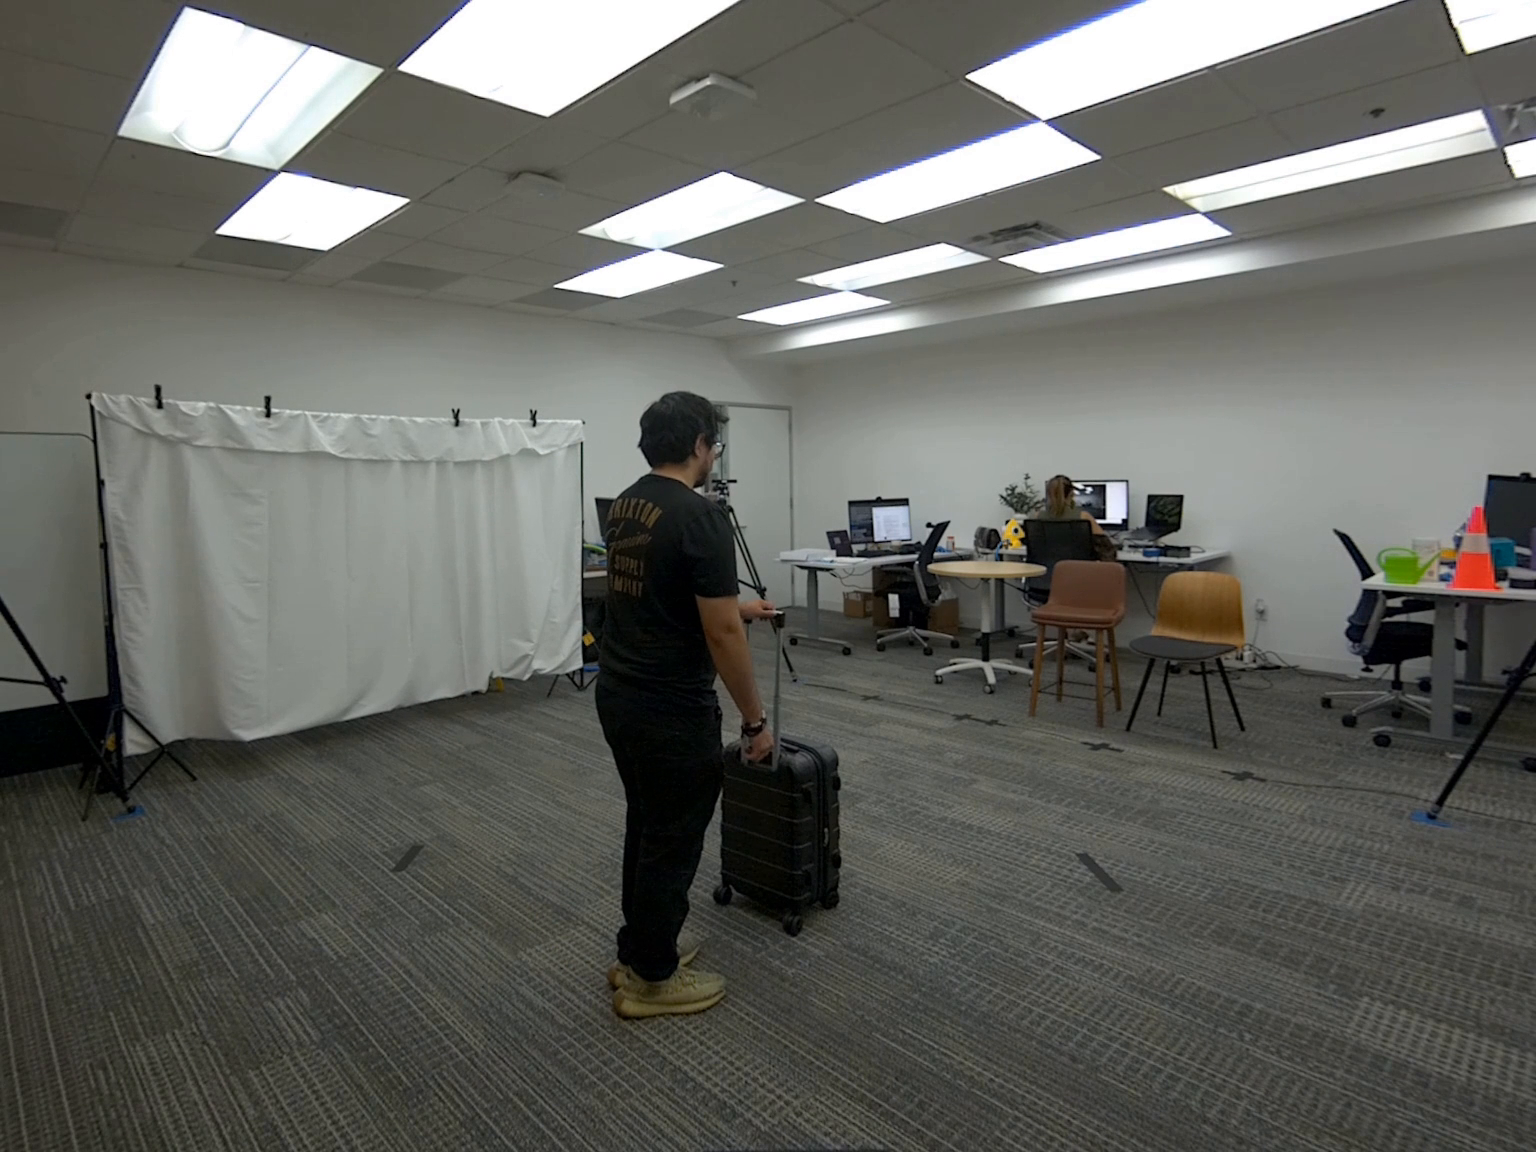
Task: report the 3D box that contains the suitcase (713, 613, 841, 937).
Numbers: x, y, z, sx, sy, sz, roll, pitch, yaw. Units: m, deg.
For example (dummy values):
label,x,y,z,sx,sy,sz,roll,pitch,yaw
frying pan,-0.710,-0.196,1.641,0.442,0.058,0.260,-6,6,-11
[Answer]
label,x,y,z,sx,sy,sz,roll,pitch,yaw
suitcase,0.046,0.602,2.811,0.395,0.978,0.249,2,1,42
